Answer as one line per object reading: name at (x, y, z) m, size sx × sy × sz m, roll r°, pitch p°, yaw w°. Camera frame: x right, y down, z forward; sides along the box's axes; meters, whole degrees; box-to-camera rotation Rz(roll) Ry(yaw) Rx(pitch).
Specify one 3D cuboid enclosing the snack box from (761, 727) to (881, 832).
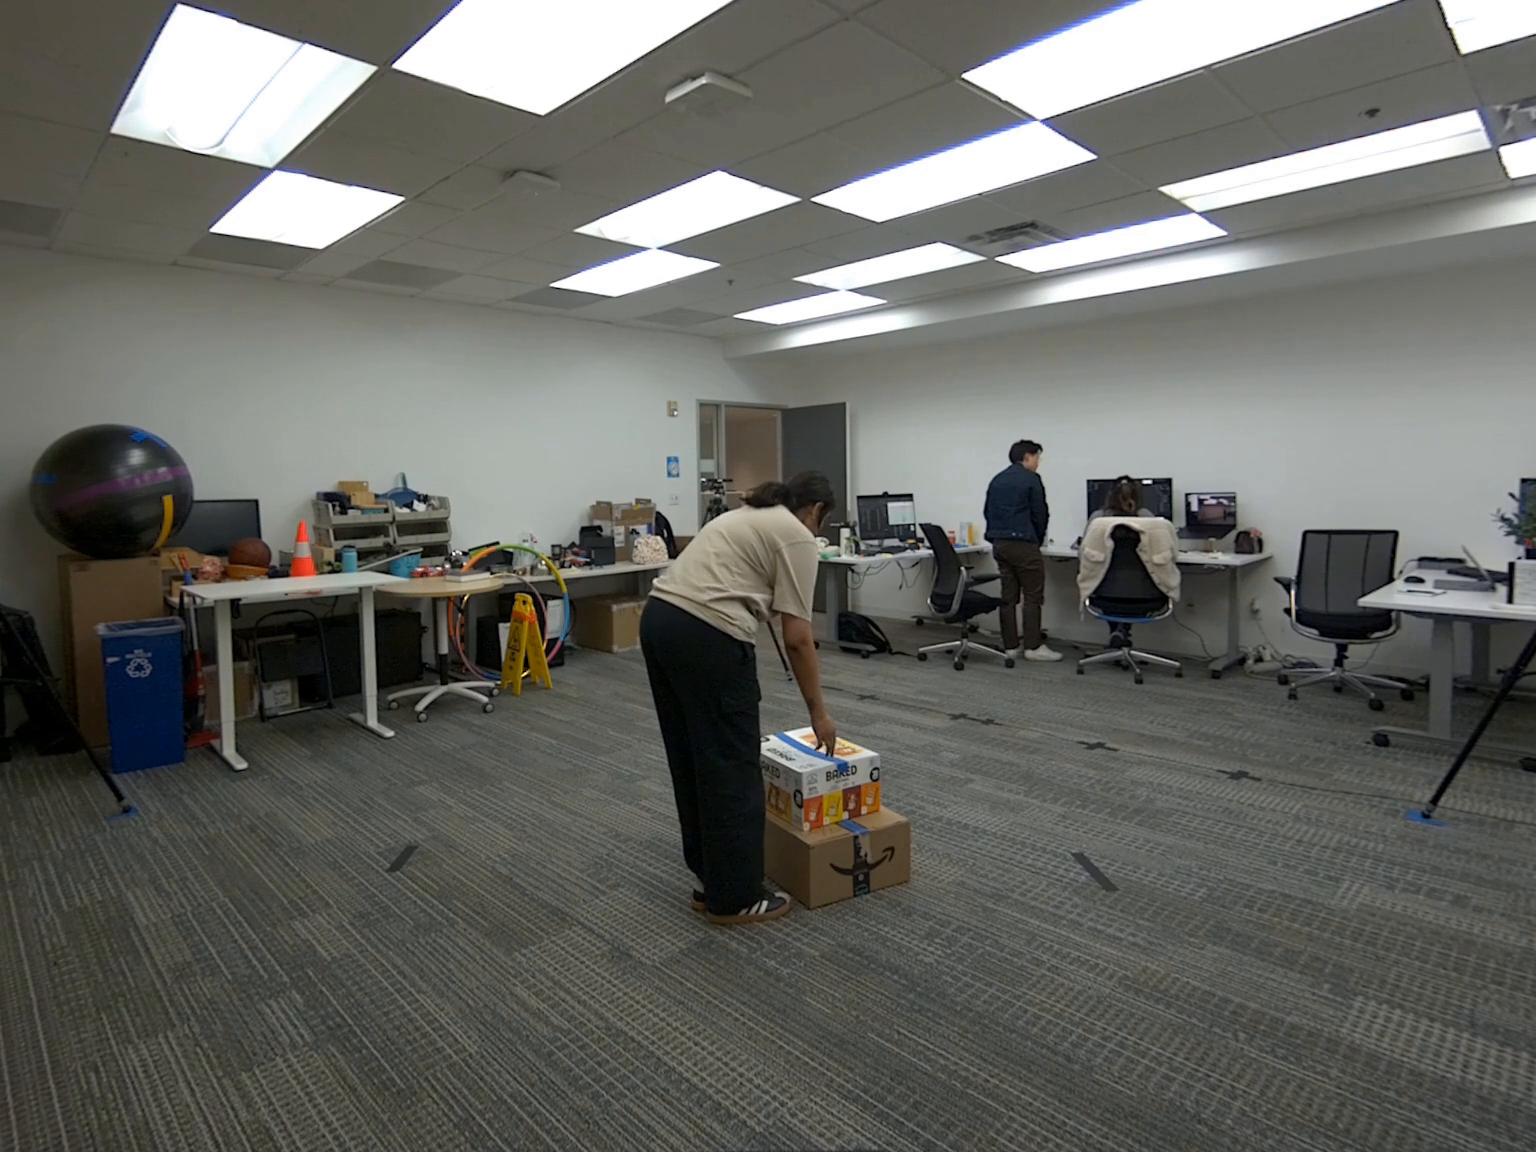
snack box at (0.143, 0.726, 3.113) m, size 0.332 × 0.205 × 0.417 m, roll -5°, pitch 7°, yaw -32°
